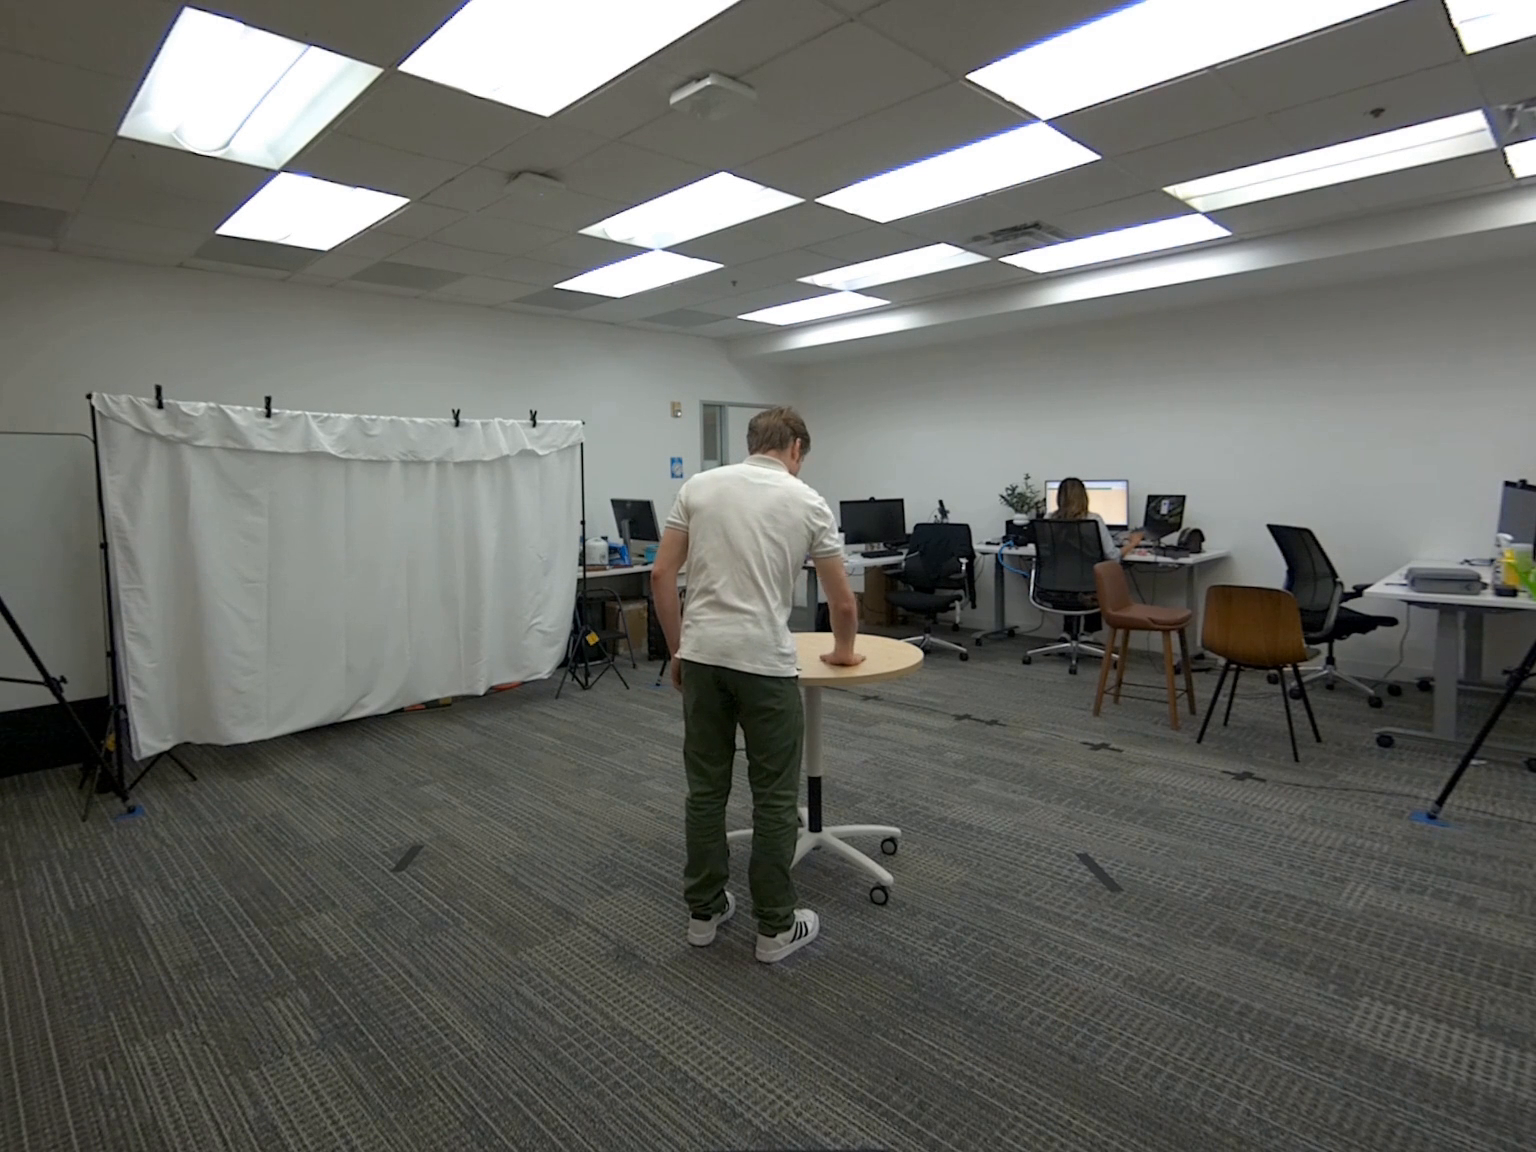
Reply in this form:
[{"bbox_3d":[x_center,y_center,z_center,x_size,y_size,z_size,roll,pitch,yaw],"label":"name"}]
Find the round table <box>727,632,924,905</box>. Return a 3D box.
[{"bbox_3d":[0.182,0.655,3.046,0.784,0.783,0.789,-2,5,-2],"label":"round table"}]
